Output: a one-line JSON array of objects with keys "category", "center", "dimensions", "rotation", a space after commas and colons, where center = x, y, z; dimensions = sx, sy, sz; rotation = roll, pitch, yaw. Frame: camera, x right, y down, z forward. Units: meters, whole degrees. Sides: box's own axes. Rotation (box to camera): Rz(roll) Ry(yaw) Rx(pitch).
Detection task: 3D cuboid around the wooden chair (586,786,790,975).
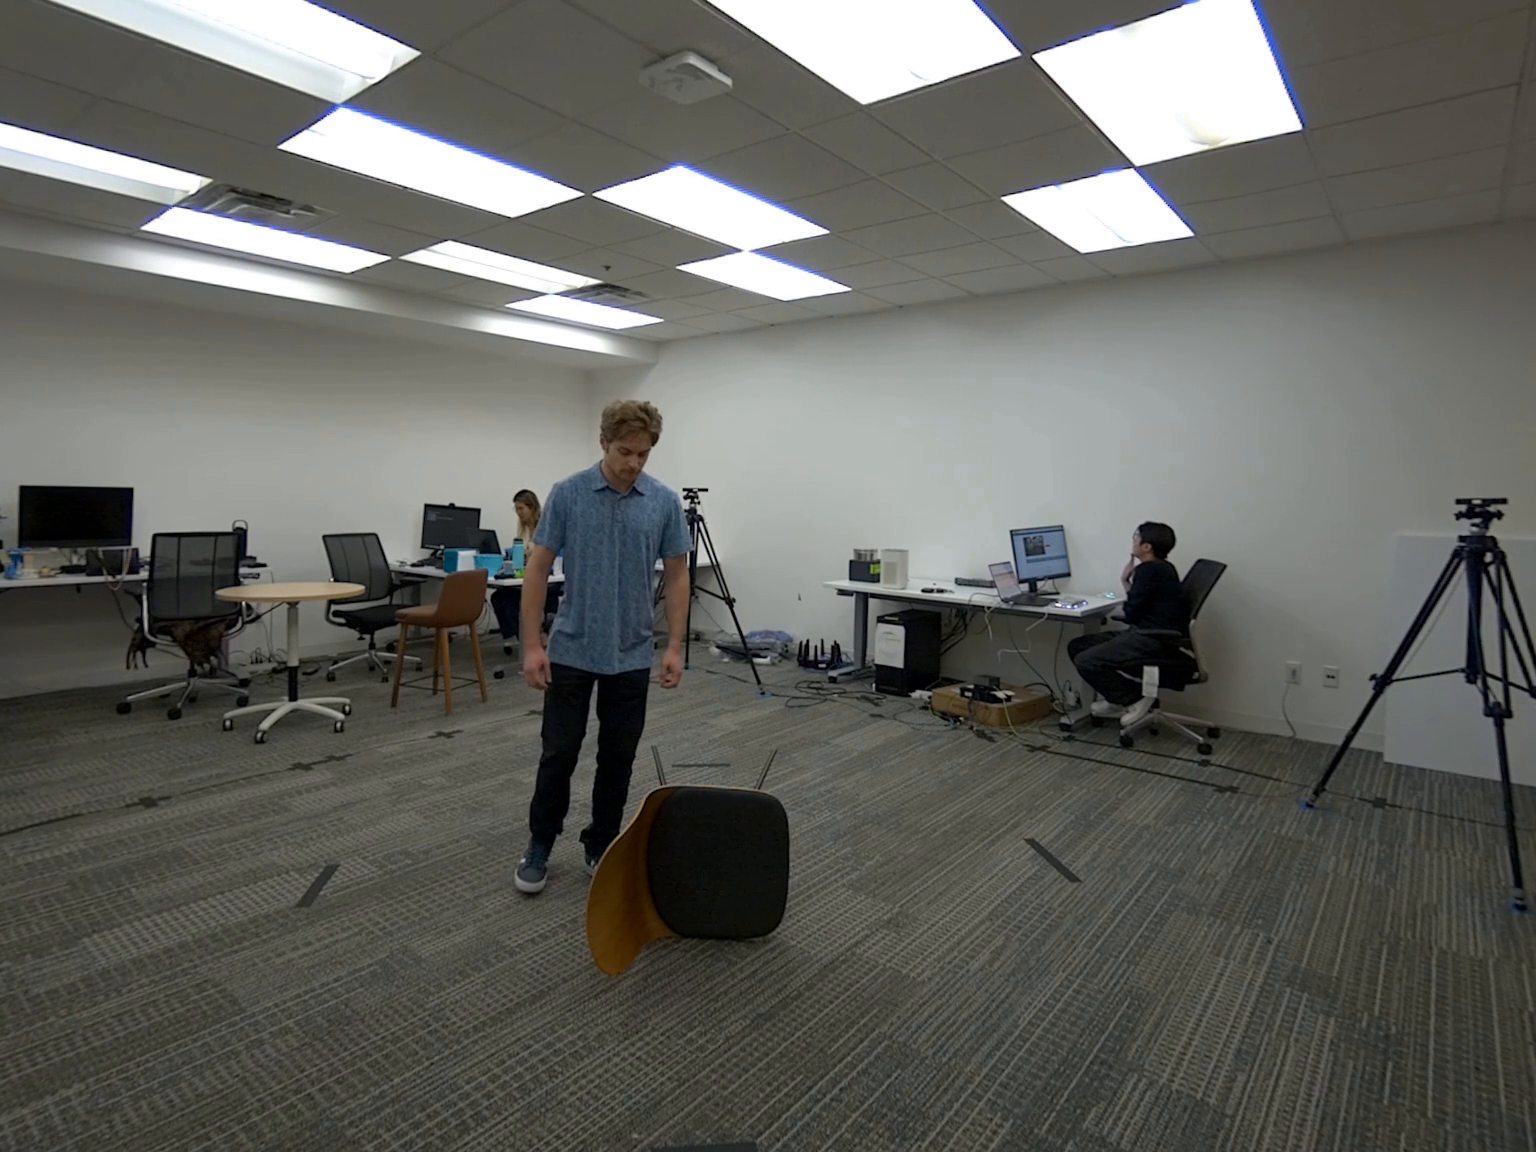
[{"category": "wooden chair", "center": [-0.198, 0.883, 2.663], "dimensions": [0.527, 0.477, 0.873], "rotation": [2, 4, 6]}]
